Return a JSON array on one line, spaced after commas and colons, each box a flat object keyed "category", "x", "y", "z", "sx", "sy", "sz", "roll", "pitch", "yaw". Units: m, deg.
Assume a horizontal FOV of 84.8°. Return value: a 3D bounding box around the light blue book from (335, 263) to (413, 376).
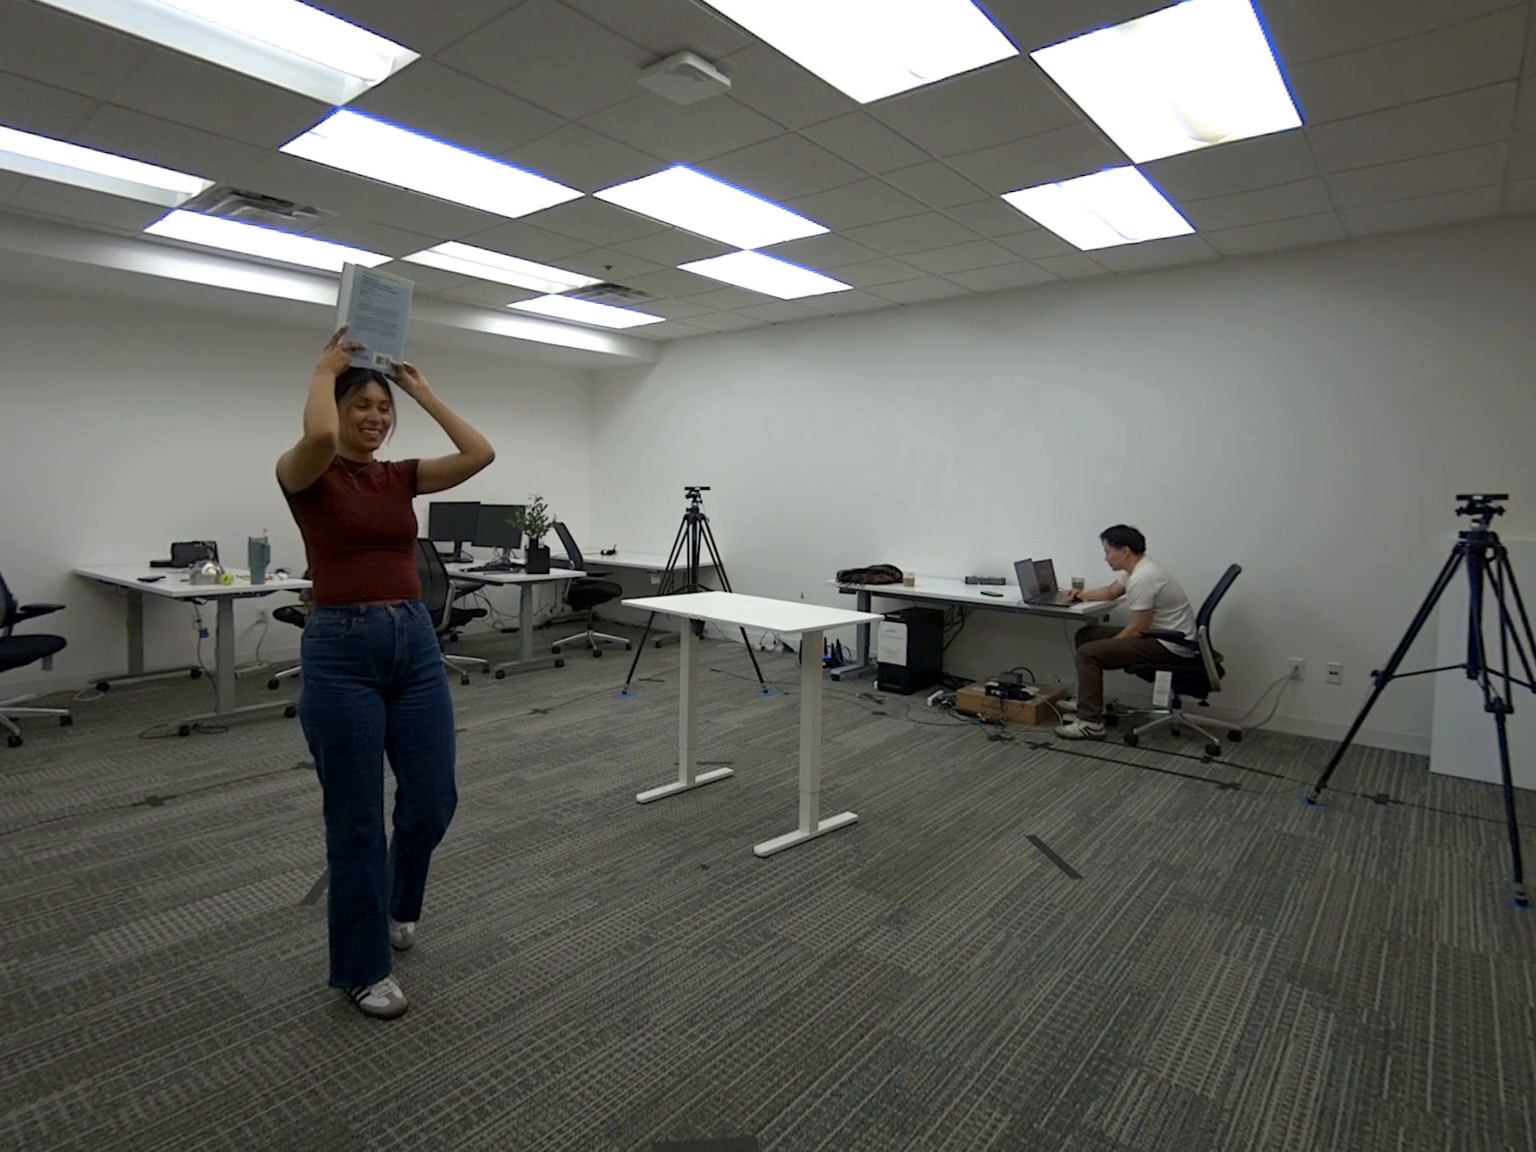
[{"category": "light blue book", "x": -1.077, "y": -0.688, "z": 2.282, "sx": 0.061, "sy": 0.260, "sz": 0.186, "roll": 15, "pitch": 7, "yaw": 27}]
